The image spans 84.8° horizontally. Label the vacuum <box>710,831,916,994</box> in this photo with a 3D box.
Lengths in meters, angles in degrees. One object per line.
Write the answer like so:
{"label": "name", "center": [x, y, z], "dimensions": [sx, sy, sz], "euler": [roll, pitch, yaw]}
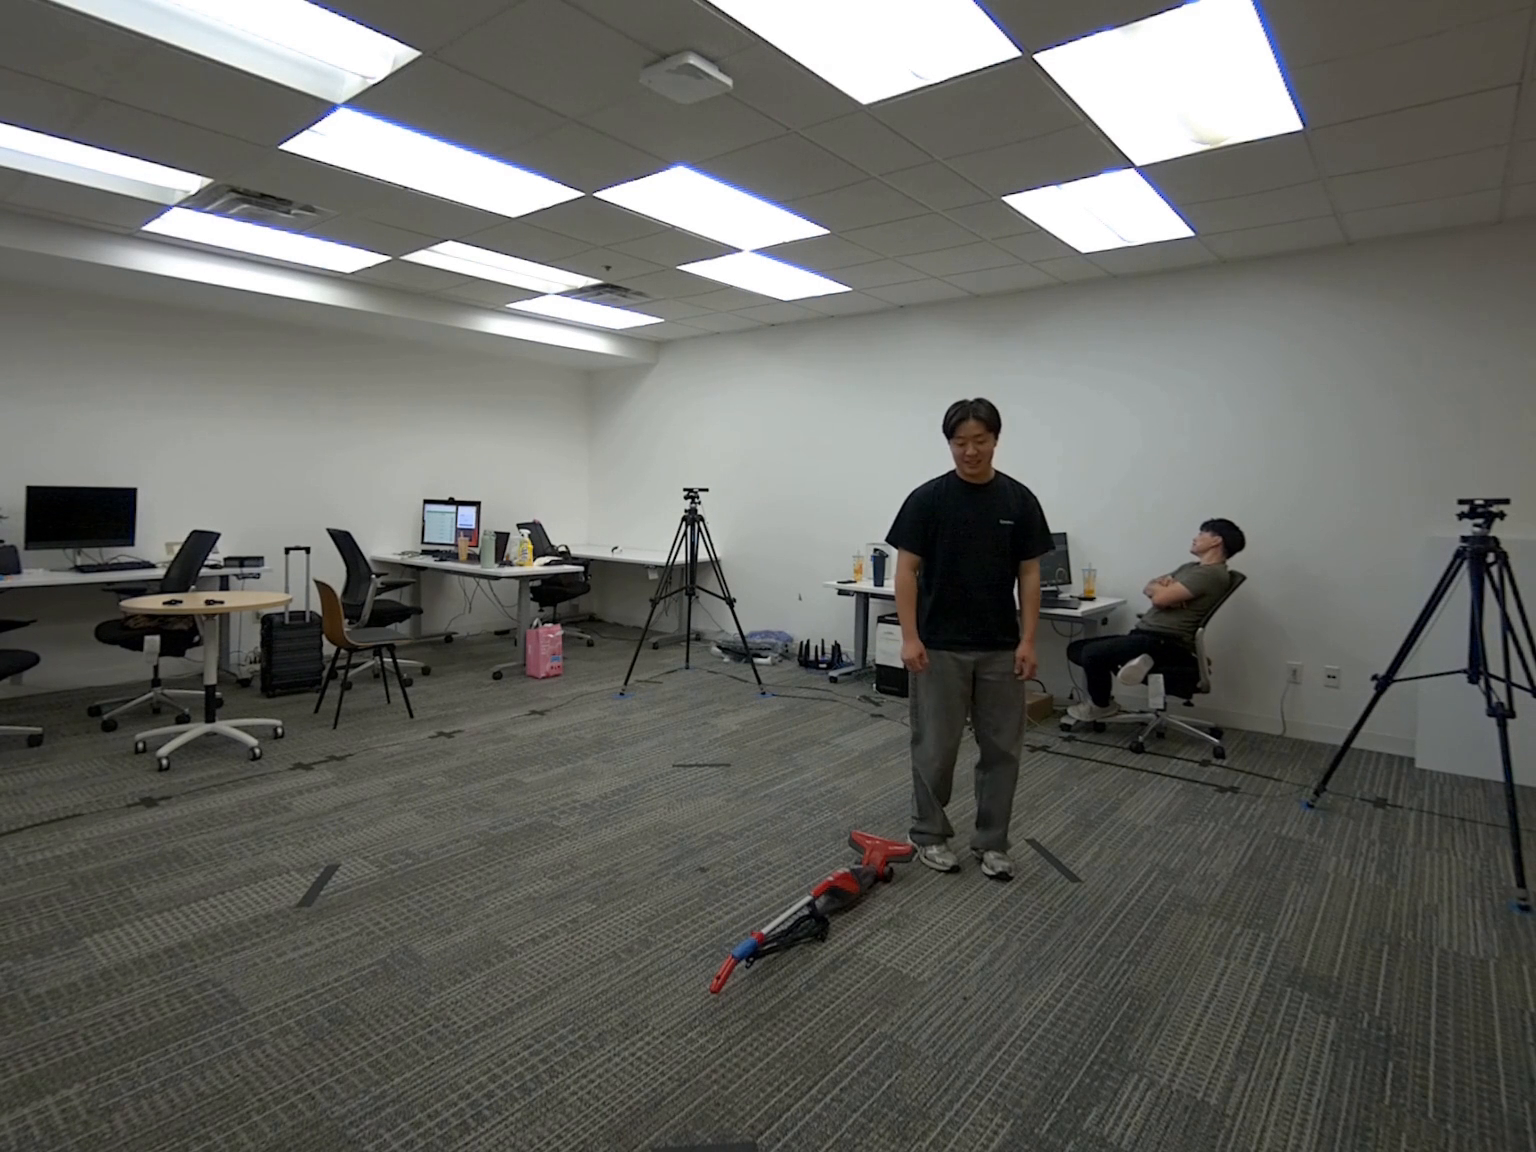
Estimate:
{"label": "vacuum", "center": [0.128, 1.062, 2.679], "dimensions": [0.260, 0.143, 1.022], "euler": [3, 6, 32]}
